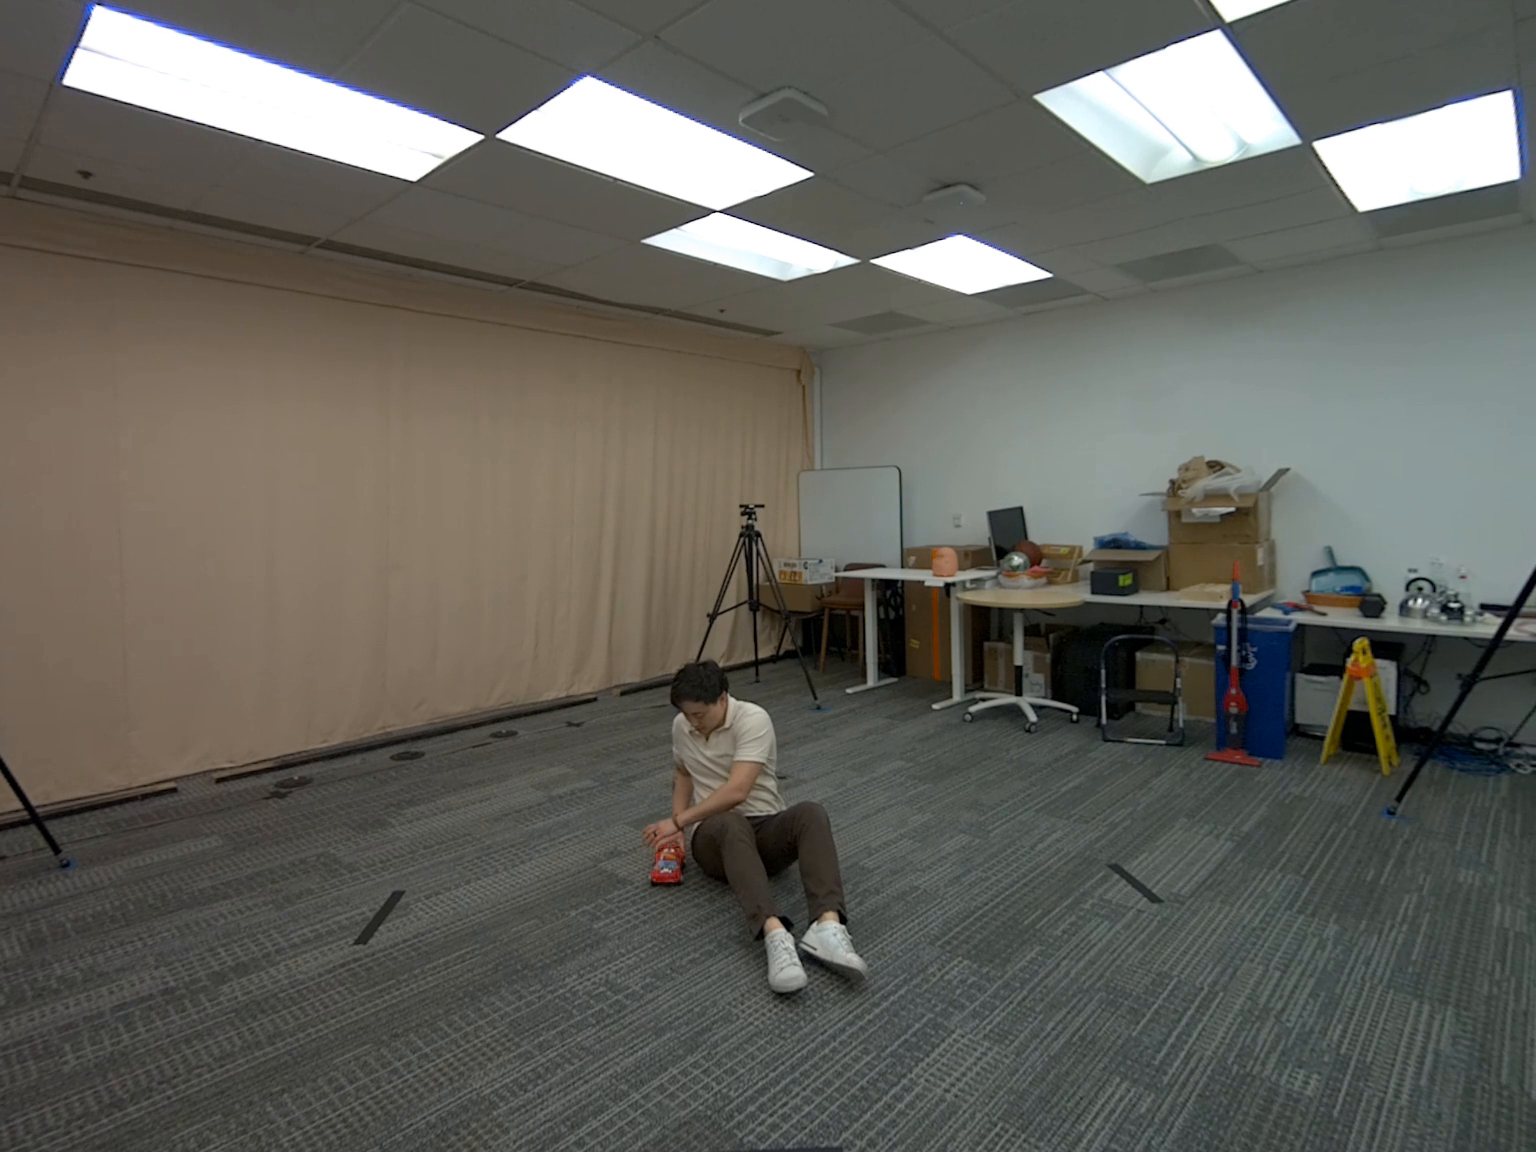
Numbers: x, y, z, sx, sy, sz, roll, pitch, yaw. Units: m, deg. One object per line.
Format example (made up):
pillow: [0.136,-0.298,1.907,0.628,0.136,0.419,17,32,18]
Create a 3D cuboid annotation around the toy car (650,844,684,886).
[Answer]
toy car: [-0.378,1.100,3.209,0.130,0.082,0.257,-2,16,-2]
